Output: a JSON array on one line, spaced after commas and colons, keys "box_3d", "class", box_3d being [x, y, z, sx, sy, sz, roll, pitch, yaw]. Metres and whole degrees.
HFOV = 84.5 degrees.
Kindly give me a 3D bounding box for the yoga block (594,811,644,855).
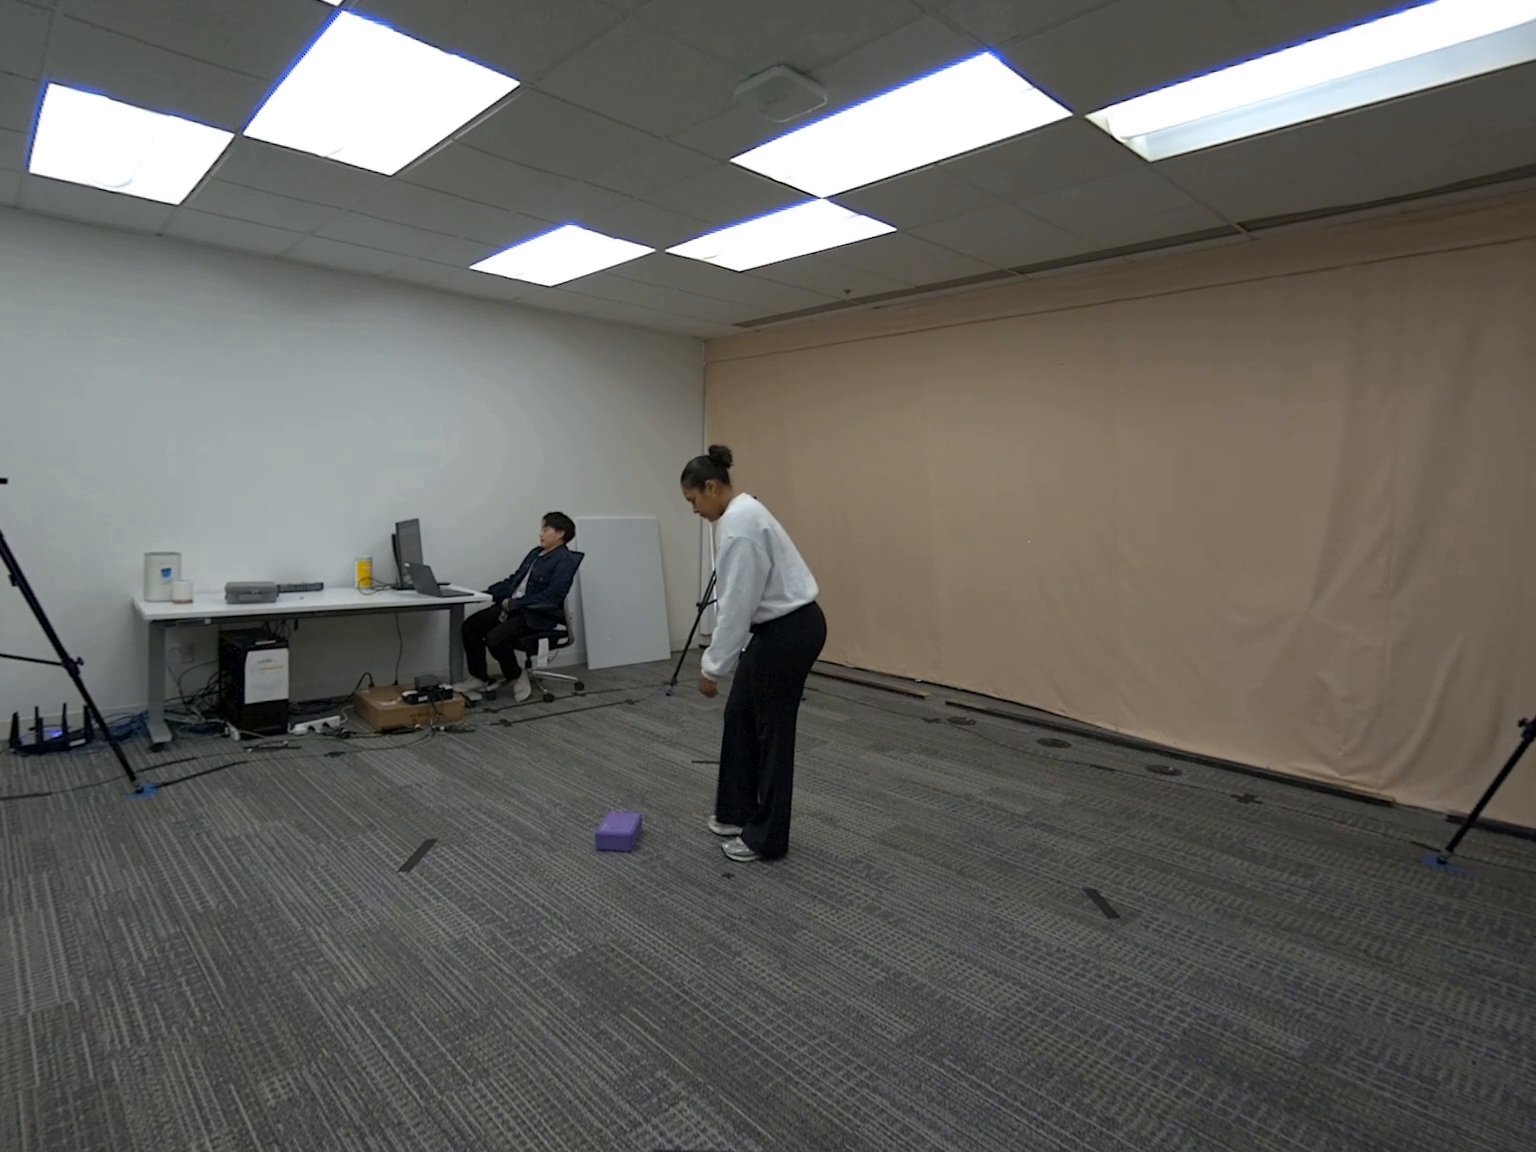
[{"box_3d": [-0.601, 1.023, 3.398, 0.149, 0.076, 0.229, 2, 5, 3], "class": "yoga block"}]
